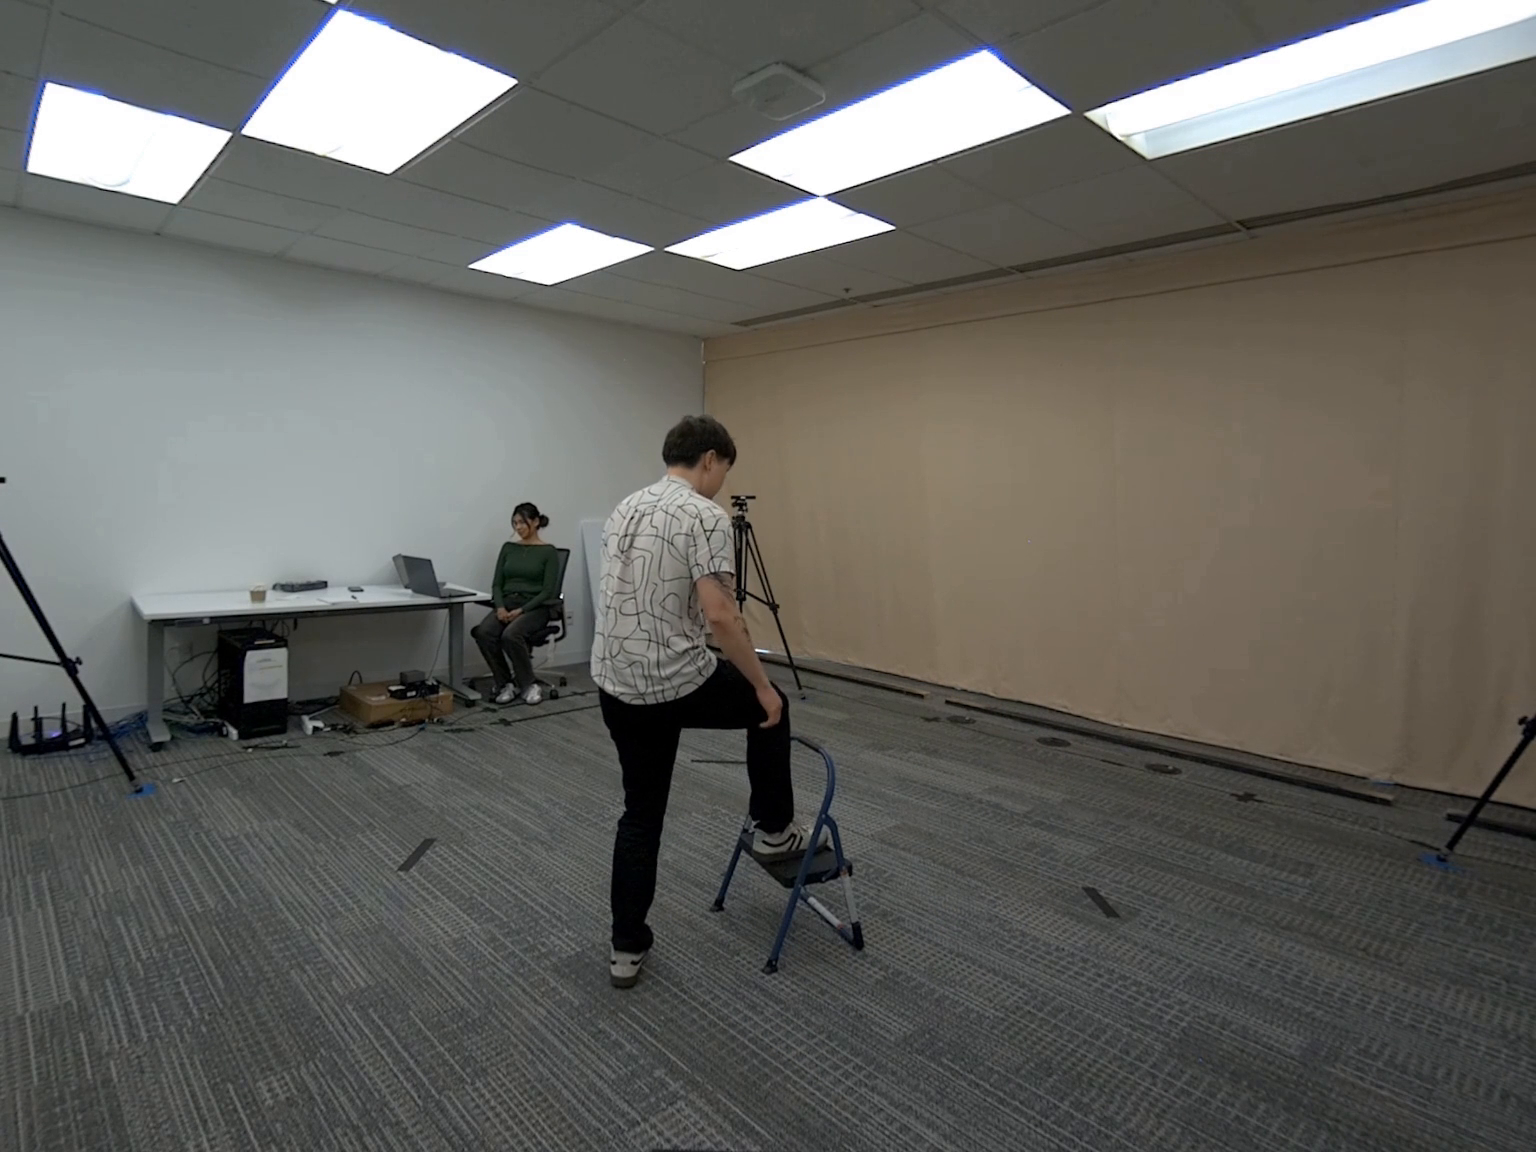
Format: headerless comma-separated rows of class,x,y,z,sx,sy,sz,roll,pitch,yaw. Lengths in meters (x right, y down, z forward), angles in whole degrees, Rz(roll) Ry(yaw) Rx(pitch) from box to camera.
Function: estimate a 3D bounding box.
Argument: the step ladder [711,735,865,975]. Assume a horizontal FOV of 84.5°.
step ladder,0.055,0.840,2.703,0.343,0.604,0.440,0,4,-27
